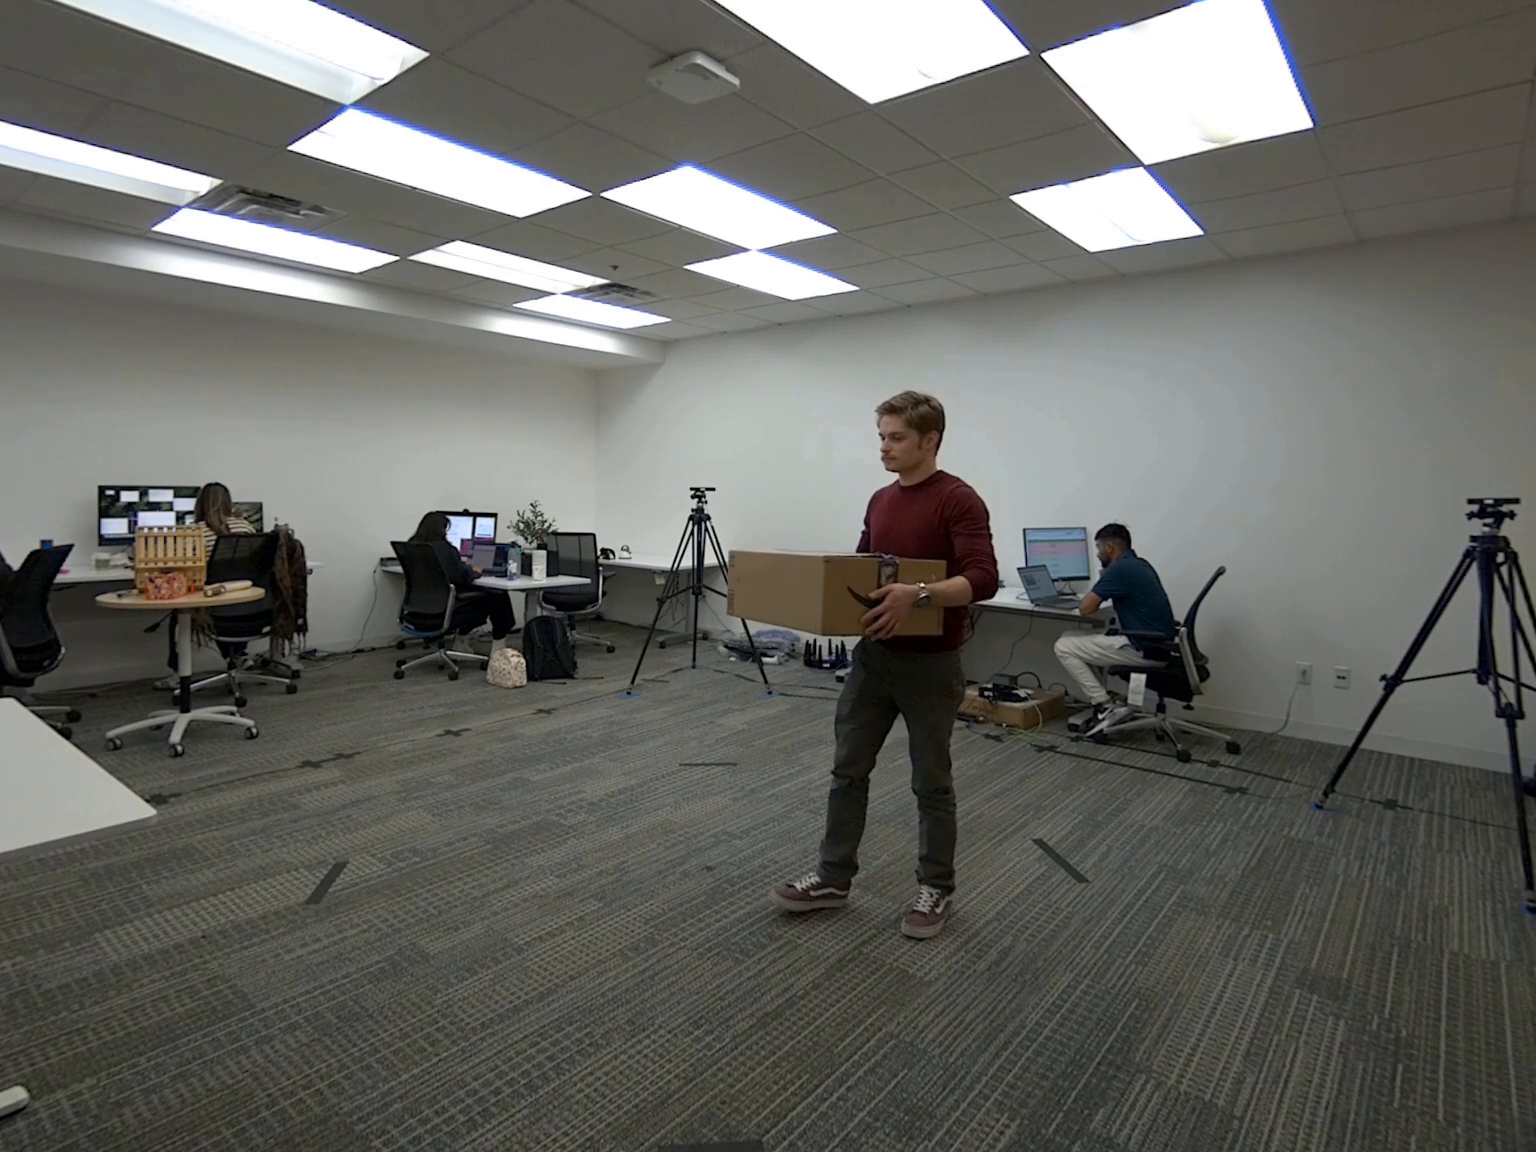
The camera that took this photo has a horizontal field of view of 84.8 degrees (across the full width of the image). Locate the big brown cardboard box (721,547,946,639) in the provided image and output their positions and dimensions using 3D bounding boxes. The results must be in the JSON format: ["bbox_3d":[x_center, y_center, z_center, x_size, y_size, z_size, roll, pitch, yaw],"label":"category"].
[{"bbox_3d":[0.178,0.039,2.602,0.406,0.233,0.605,2,1,-29],"label":"big brown cardboard box"}]
